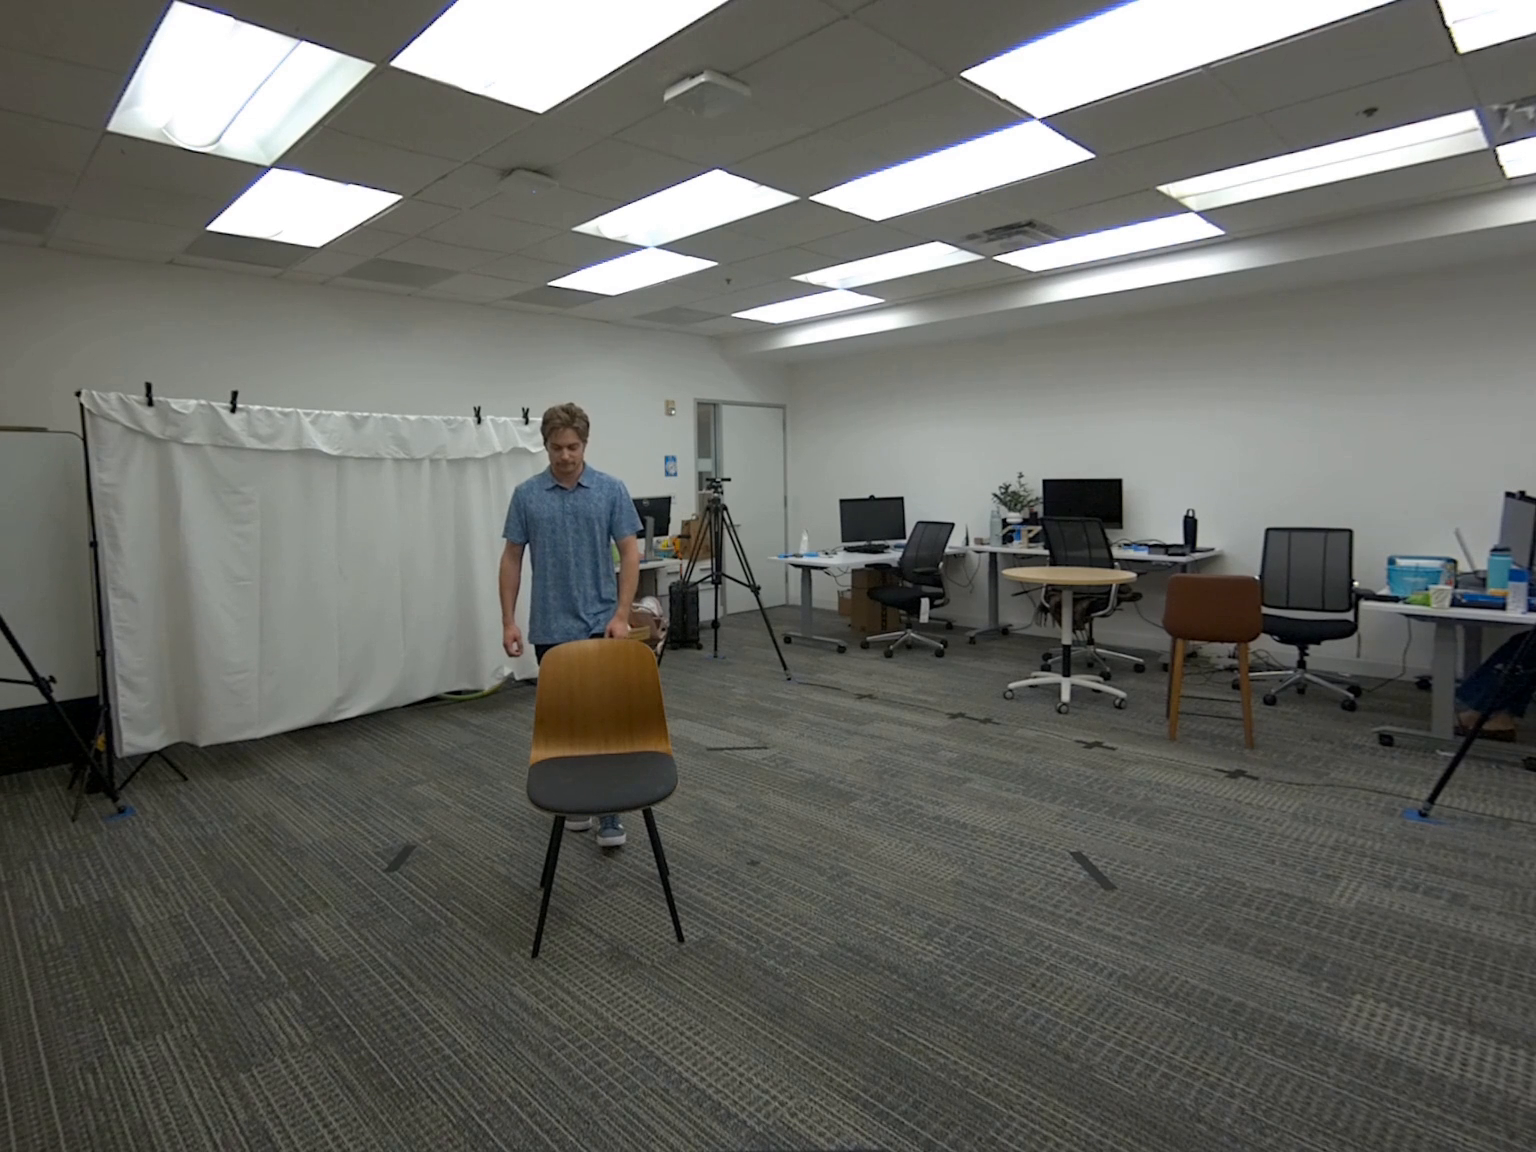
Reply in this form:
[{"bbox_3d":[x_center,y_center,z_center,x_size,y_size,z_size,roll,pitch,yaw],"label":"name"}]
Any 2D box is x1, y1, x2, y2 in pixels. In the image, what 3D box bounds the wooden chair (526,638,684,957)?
[{"bbox_3d":[-0.516,0.665,2.721,0.473,0.877,0.528,-2,0,-11],"label":"wooden chair"}]
